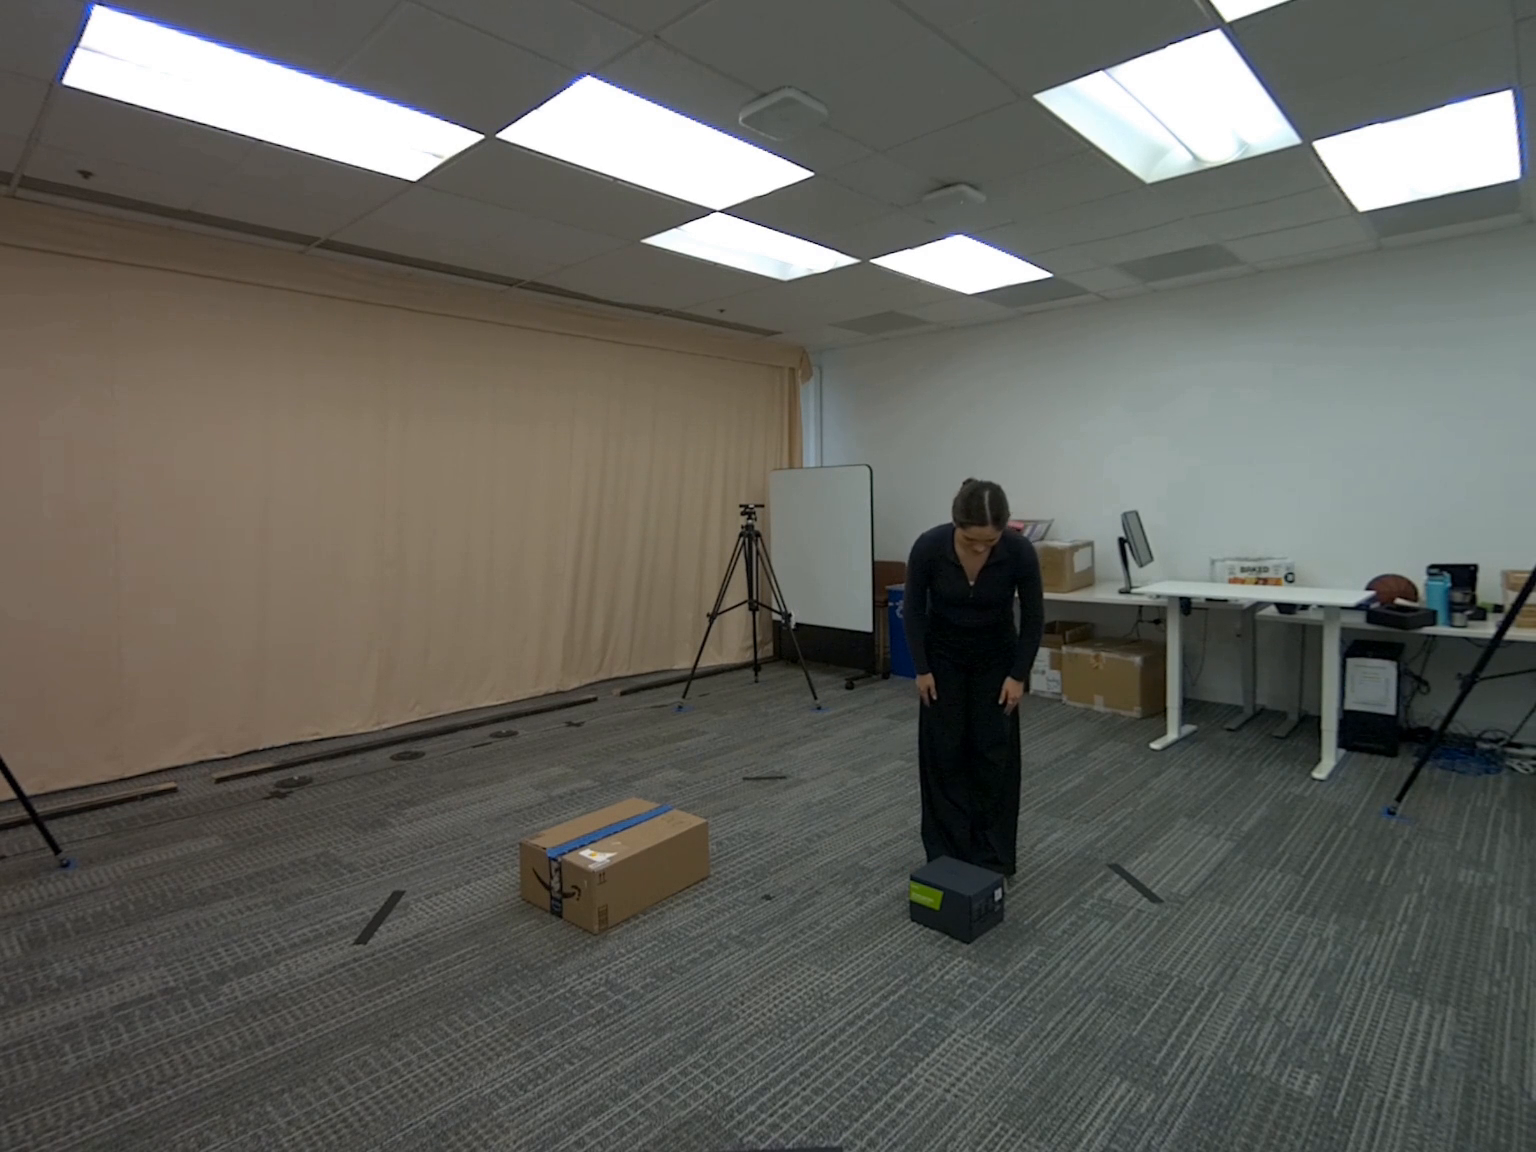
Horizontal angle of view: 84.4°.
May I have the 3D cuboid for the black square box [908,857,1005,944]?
[{"bbox_3d":[0.626,1.061,2.787,0.235,0.155,0.210,3,6,45],"label":"black square box"}]
